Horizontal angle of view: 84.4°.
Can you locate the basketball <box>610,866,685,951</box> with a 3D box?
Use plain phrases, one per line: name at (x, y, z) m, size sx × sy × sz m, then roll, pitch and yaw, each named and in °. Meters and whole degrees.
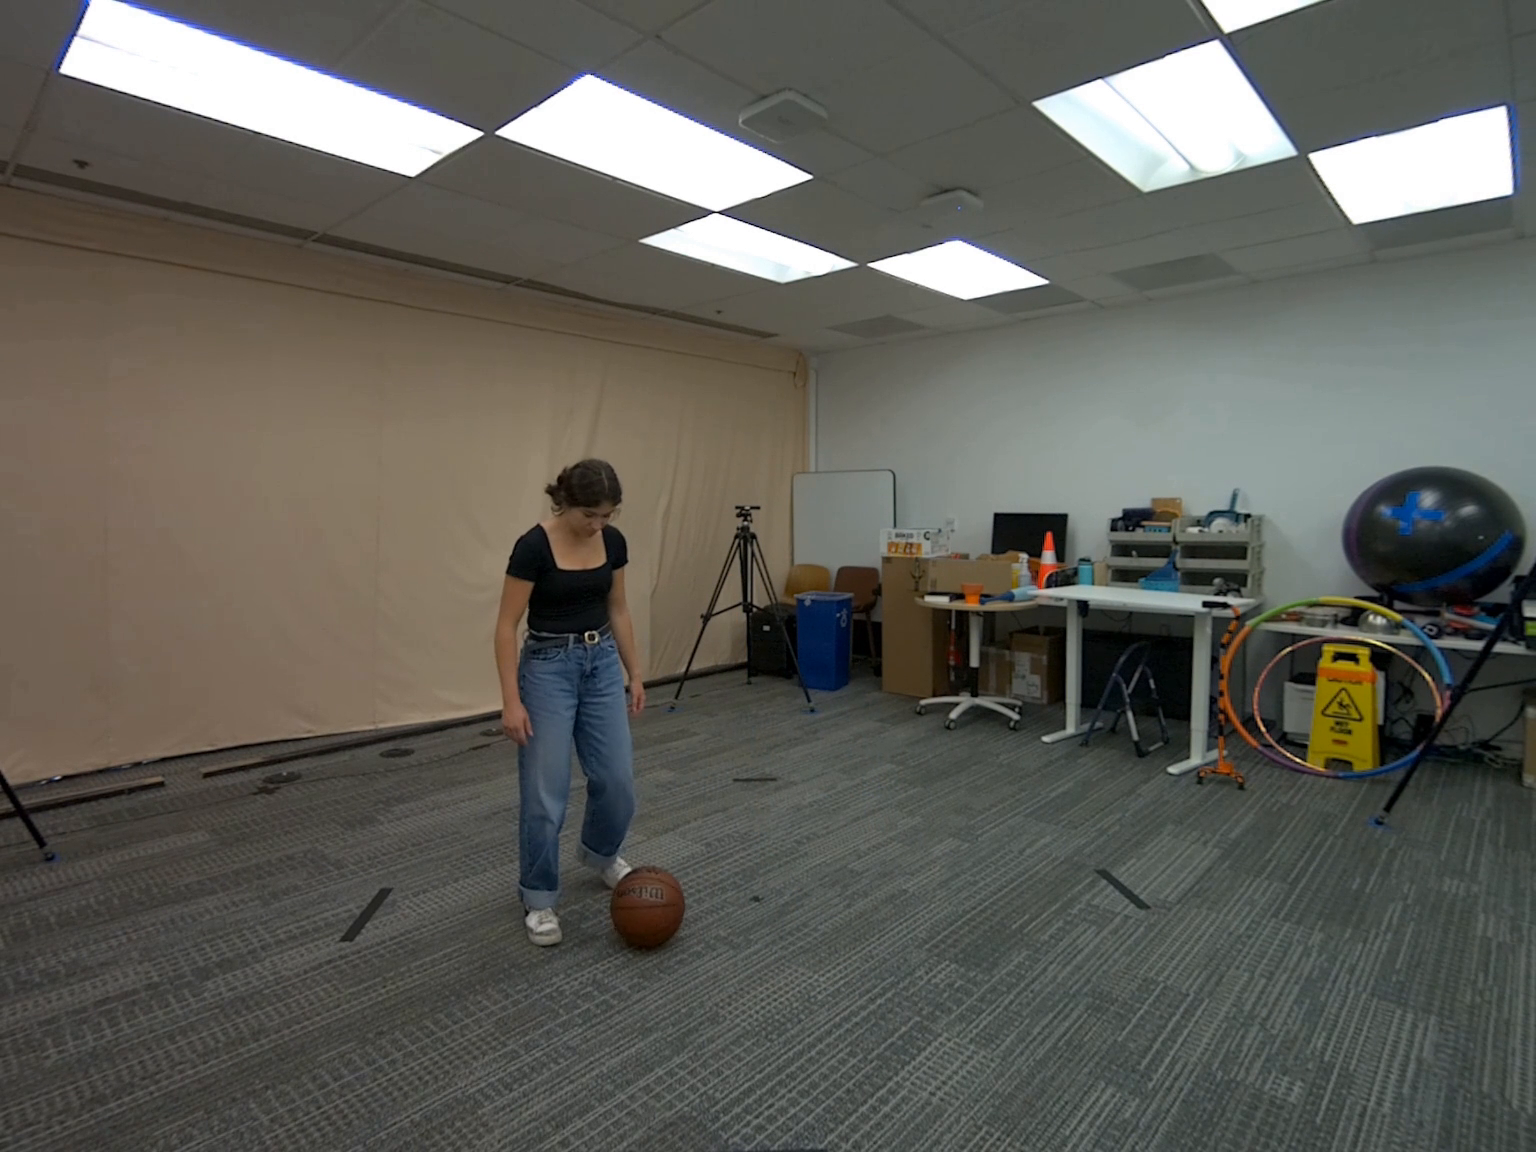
basketball at (-0.380, 1.051, 2.680) m, size 0.236 × 0.235 × 0.237 m, roll 0°, pitch 4°, yaw -2°
